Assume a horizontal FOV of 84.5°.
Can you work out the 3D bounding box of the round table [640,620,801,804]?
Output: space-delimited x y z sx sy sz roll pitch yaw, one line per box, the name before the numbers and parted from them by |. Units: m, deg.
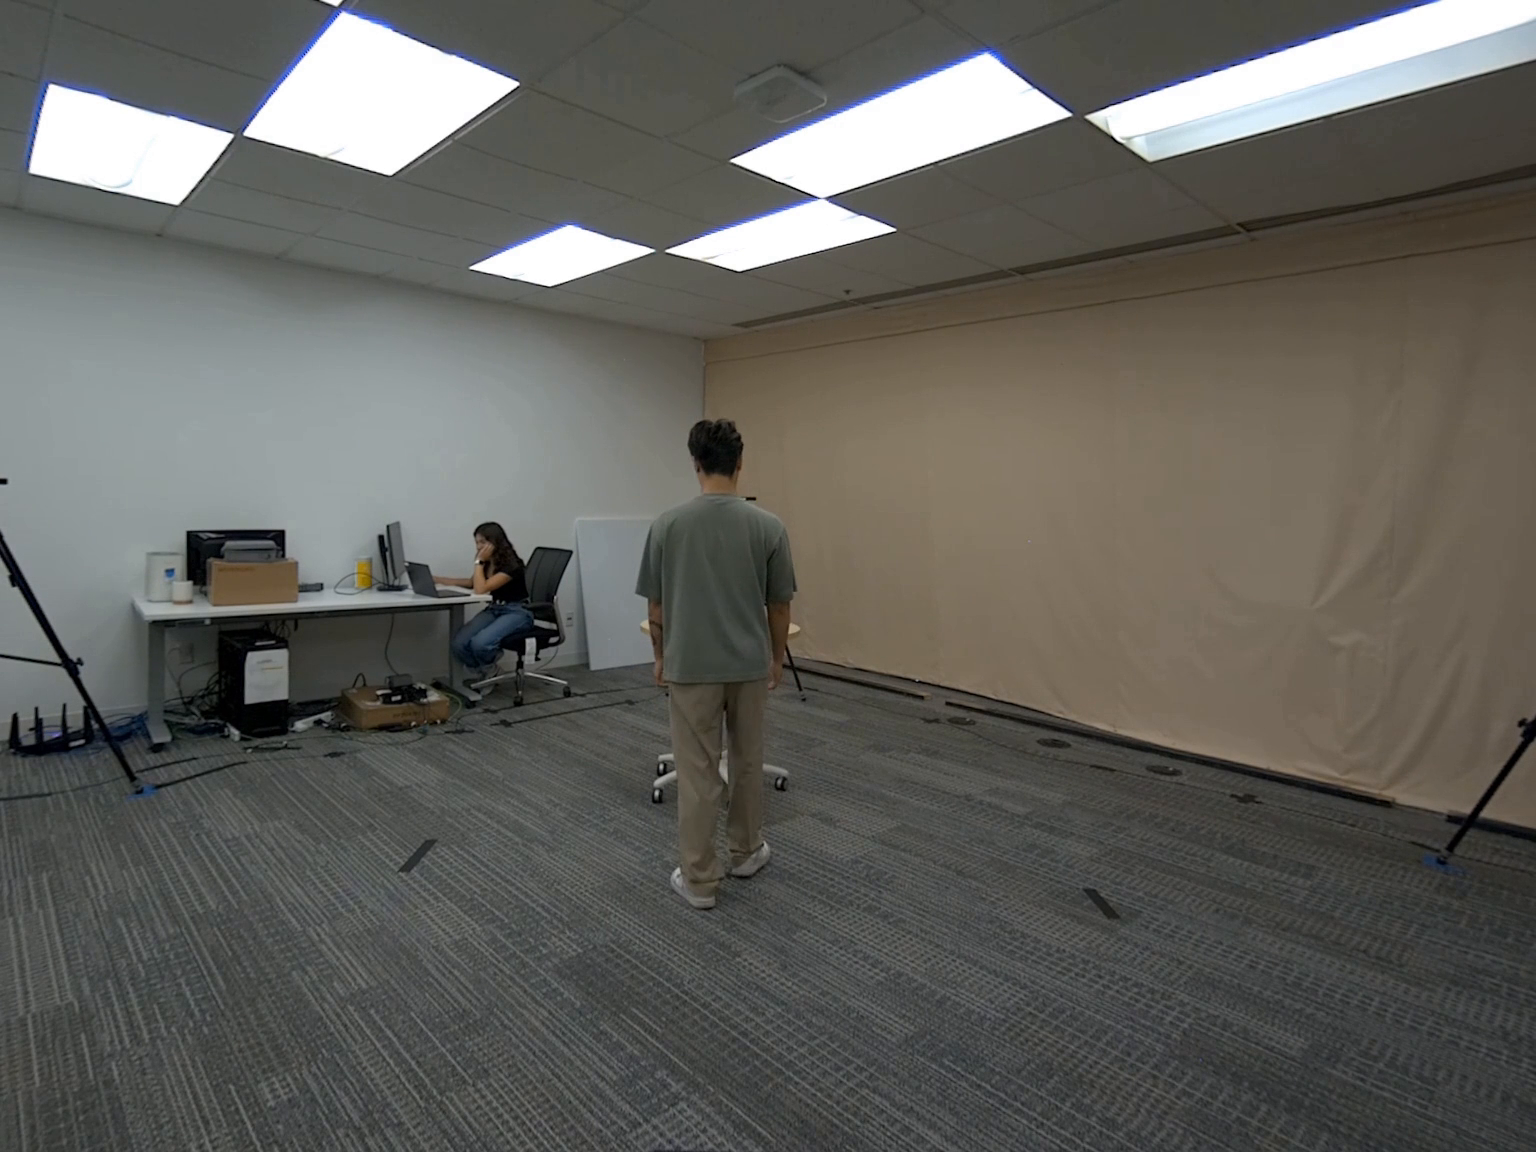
round table | -0.239 0.633 4.051 0.784 0.785 0.787 1 4 -1
